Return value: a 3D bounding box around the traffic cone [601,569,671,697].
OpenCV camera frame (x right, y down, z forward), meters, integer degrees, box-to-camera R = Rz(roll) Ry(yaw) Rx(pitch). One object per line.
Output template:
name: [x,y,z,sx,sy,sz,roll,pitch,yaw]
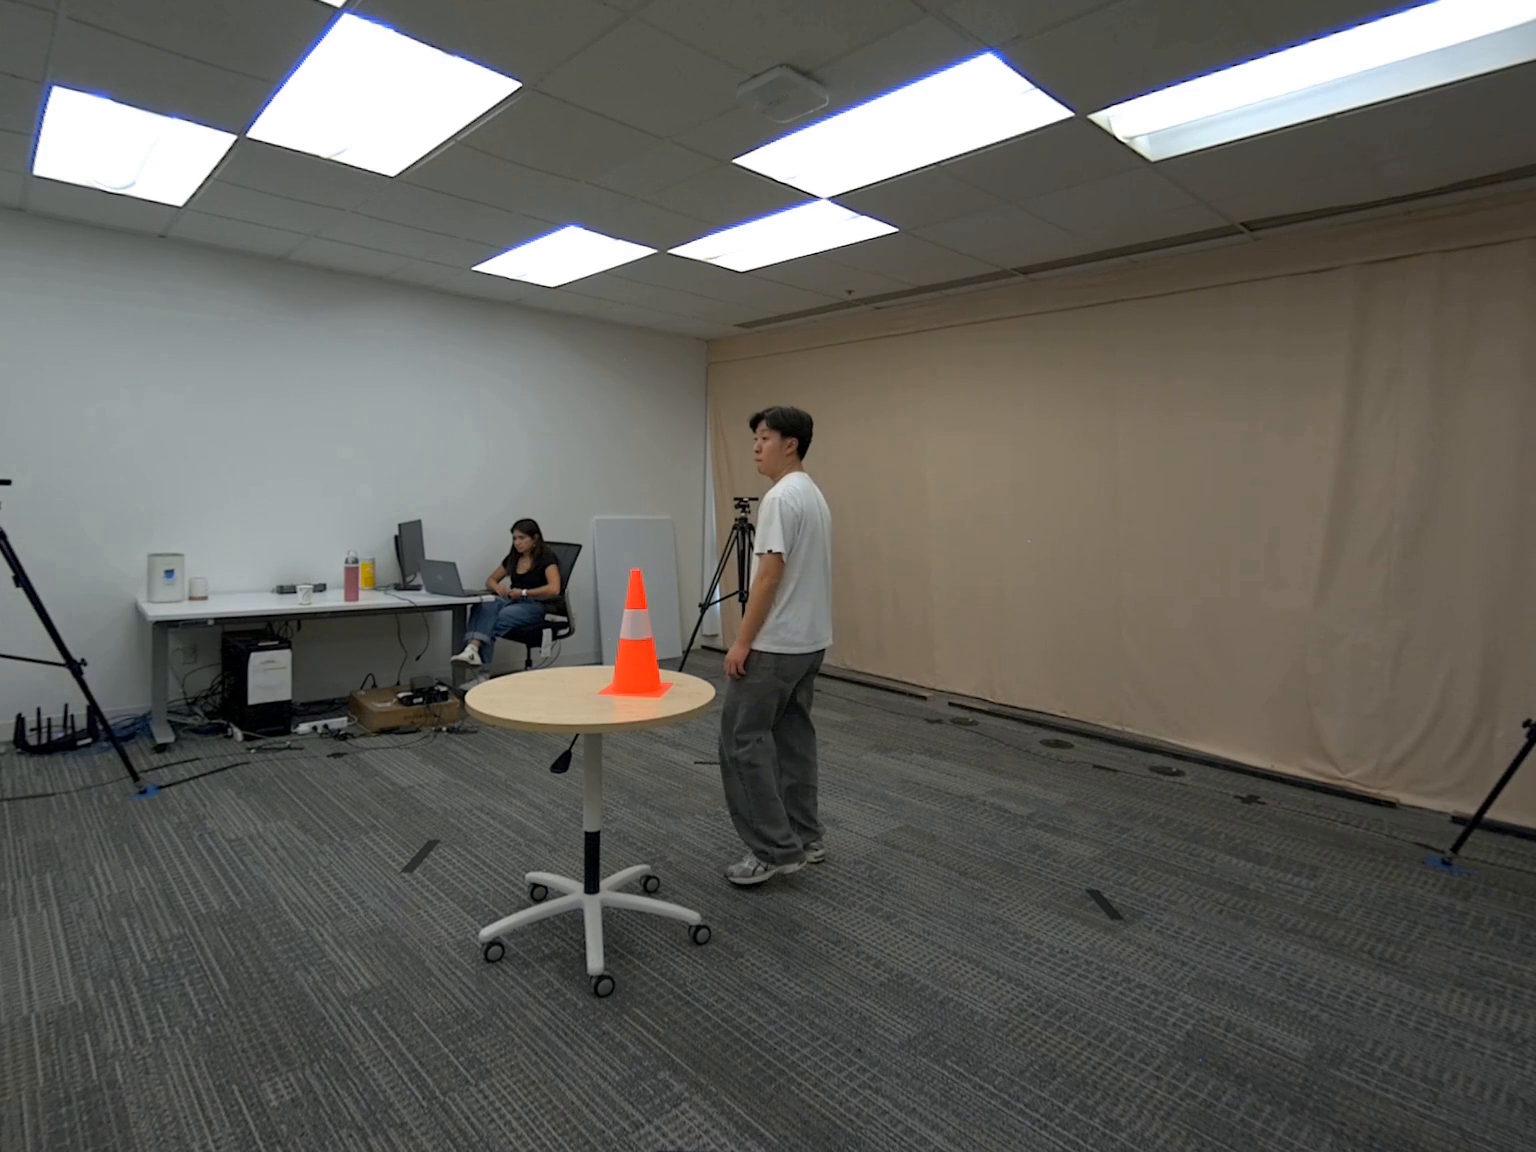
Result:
traffic cone: [-0.419,0.176,2.646,0.205,0.383,0.204,2,3,8]
